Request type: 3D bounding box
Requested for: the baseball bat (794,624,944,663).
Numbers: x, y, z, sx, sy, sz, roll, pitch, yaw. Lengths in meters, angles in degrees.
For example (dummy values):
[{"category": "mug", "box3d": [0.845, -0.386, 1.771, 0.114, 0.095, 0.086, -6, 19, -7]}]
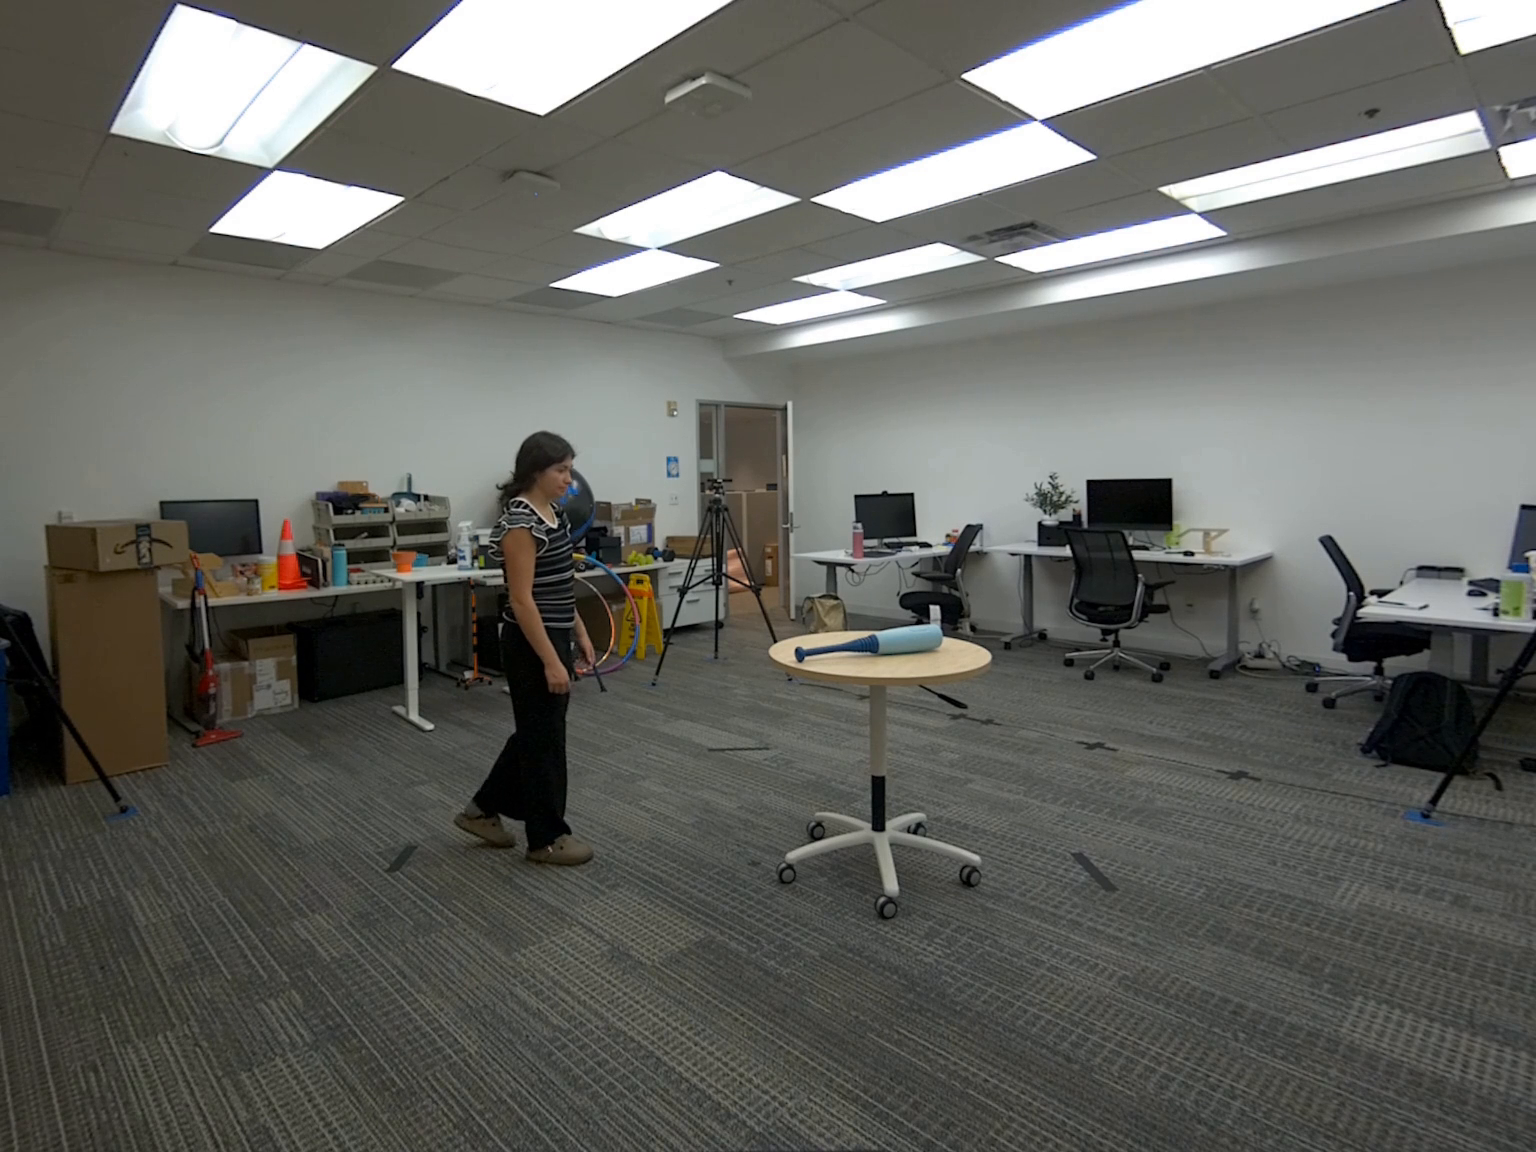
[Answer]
[{"category": "baseball bat", "box3d": [0.350, 0.239, 2.925, 0.534, 0.088, 0.091, -6, 6, -19]}]
